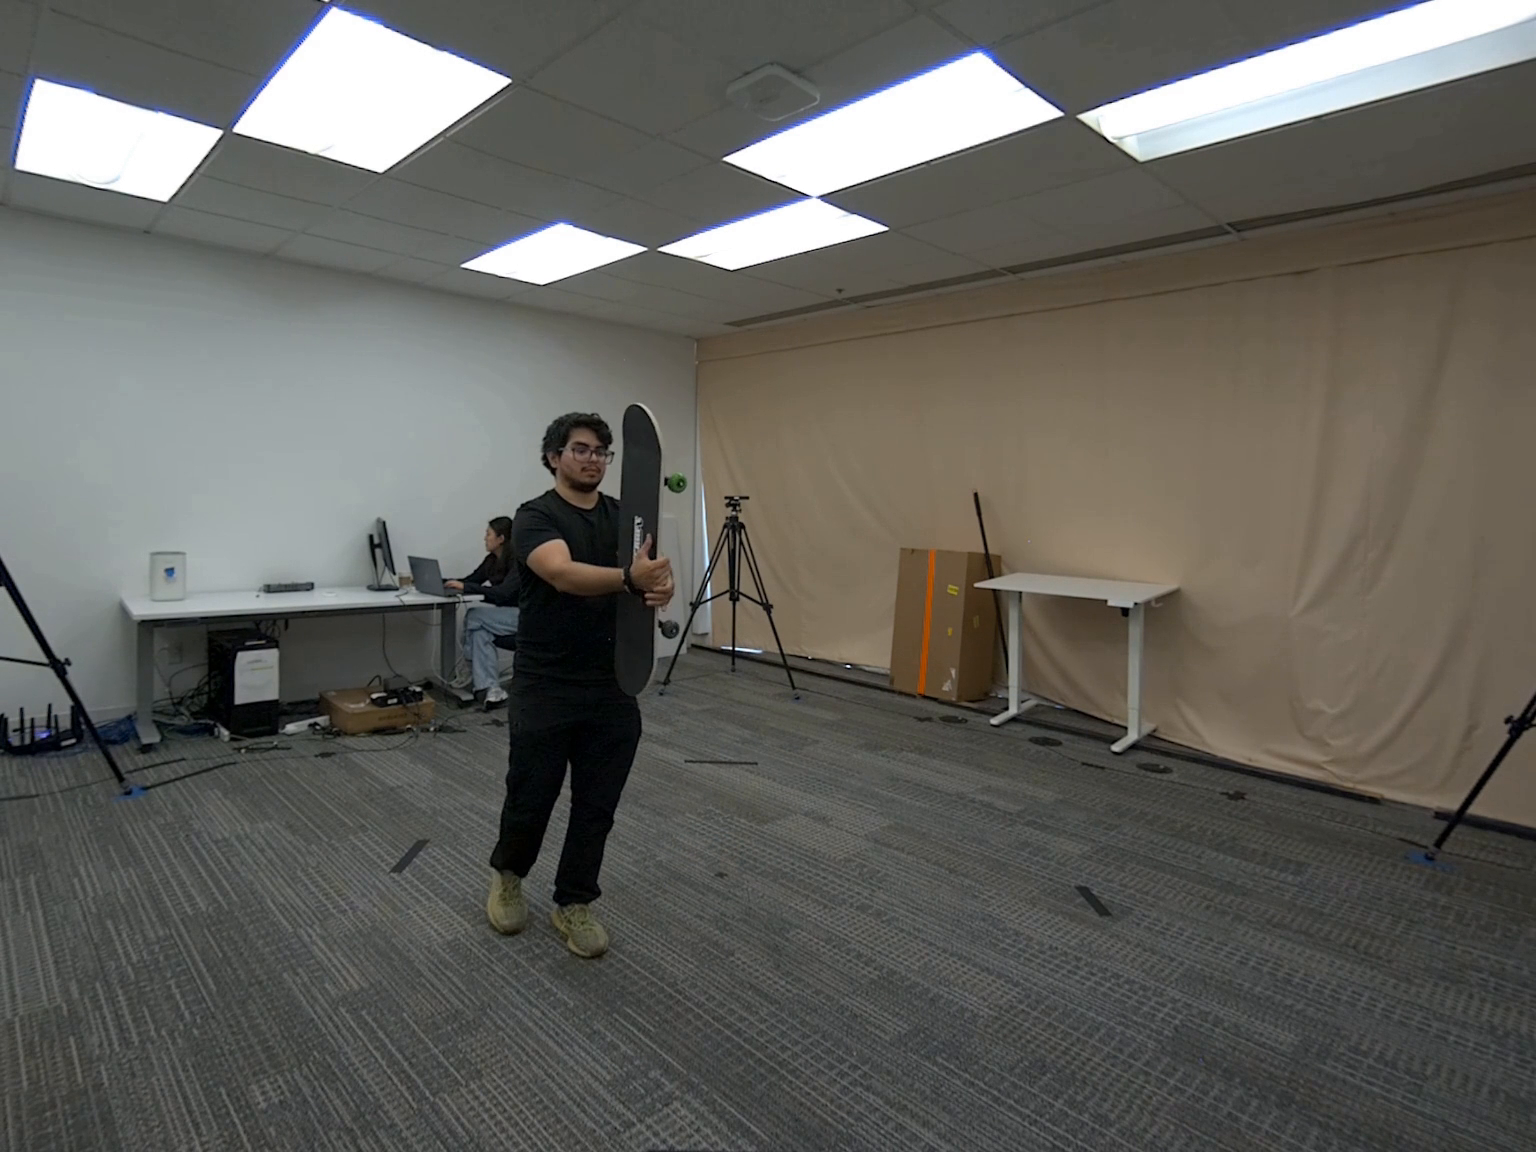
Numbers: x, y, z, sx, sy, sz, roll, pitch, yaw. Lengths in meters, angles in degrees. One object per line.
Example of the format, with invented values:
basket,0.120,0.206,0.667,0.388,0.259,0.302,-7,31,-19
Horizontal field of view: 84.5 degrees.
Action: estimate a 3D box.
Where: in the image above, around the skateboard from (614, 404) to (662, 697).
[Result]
skateboard,-0.323,-0.058,2.249,0.108,0.778,0.199,-6,18,-39
